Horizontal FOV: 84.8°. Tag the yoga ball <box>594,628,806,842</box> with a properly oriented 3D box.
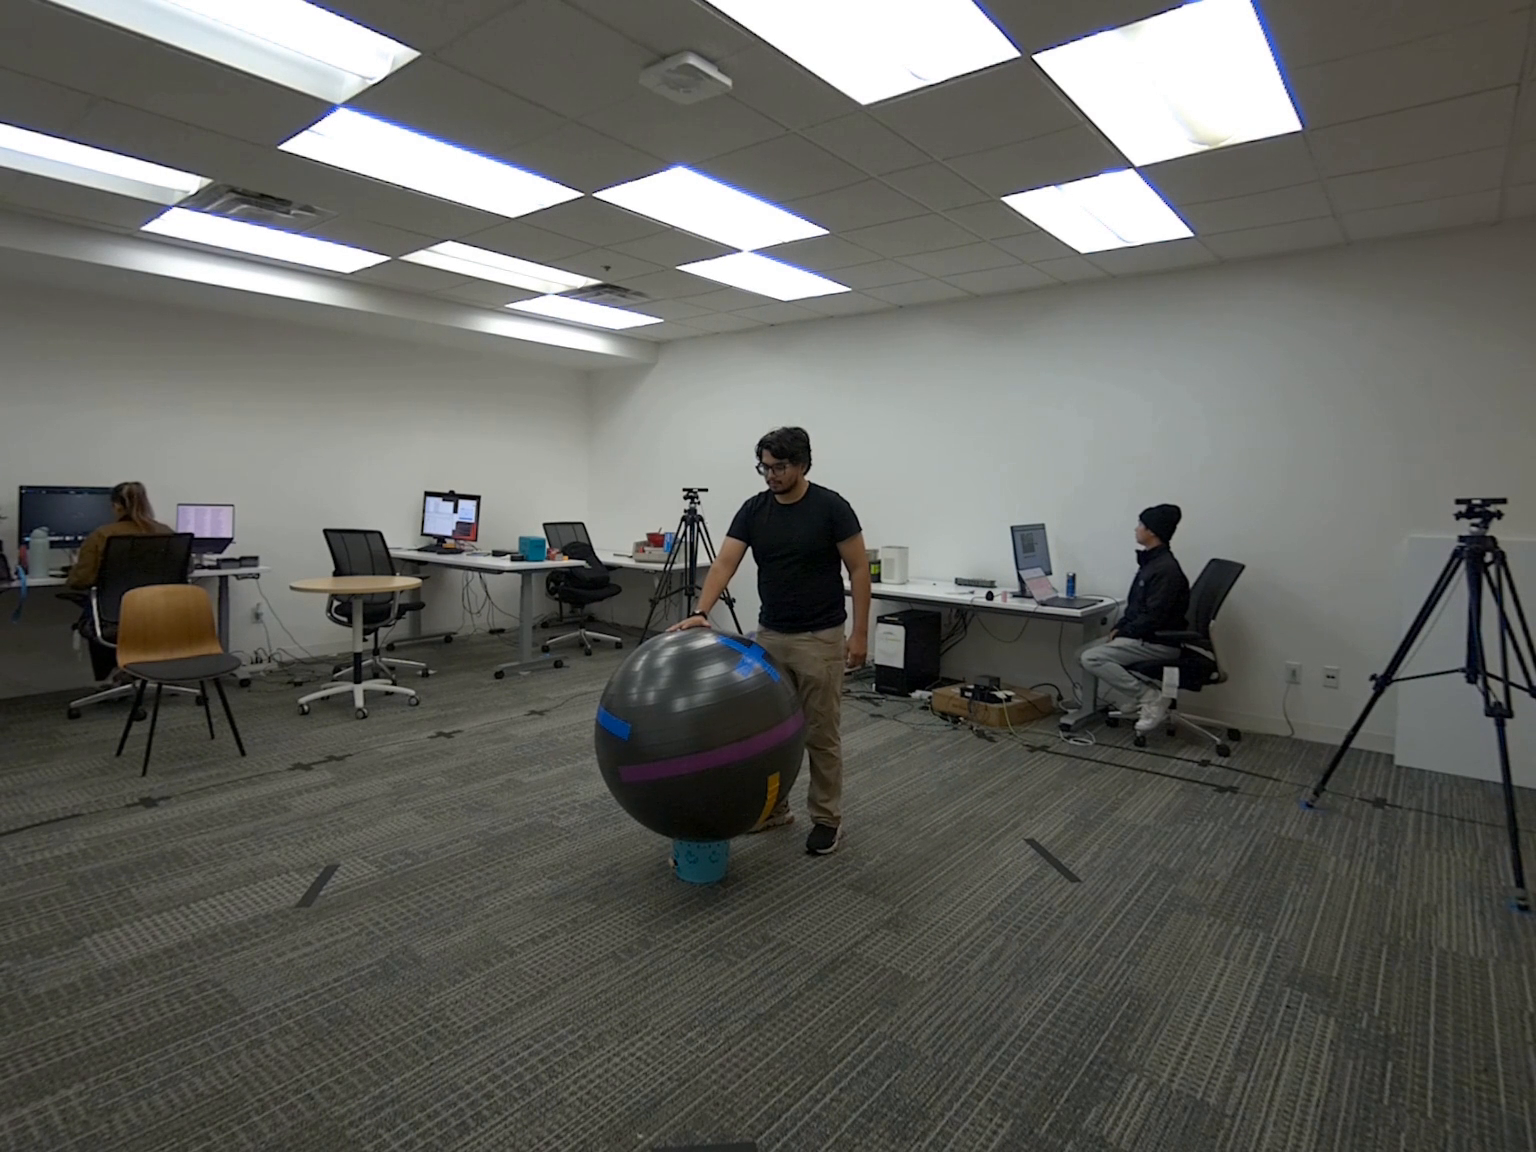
[{"bbox_3d":[-0.256,0.560,3.078,0.757,0.756,0.762,1,4,-2],"label":"yoga ball"}]
